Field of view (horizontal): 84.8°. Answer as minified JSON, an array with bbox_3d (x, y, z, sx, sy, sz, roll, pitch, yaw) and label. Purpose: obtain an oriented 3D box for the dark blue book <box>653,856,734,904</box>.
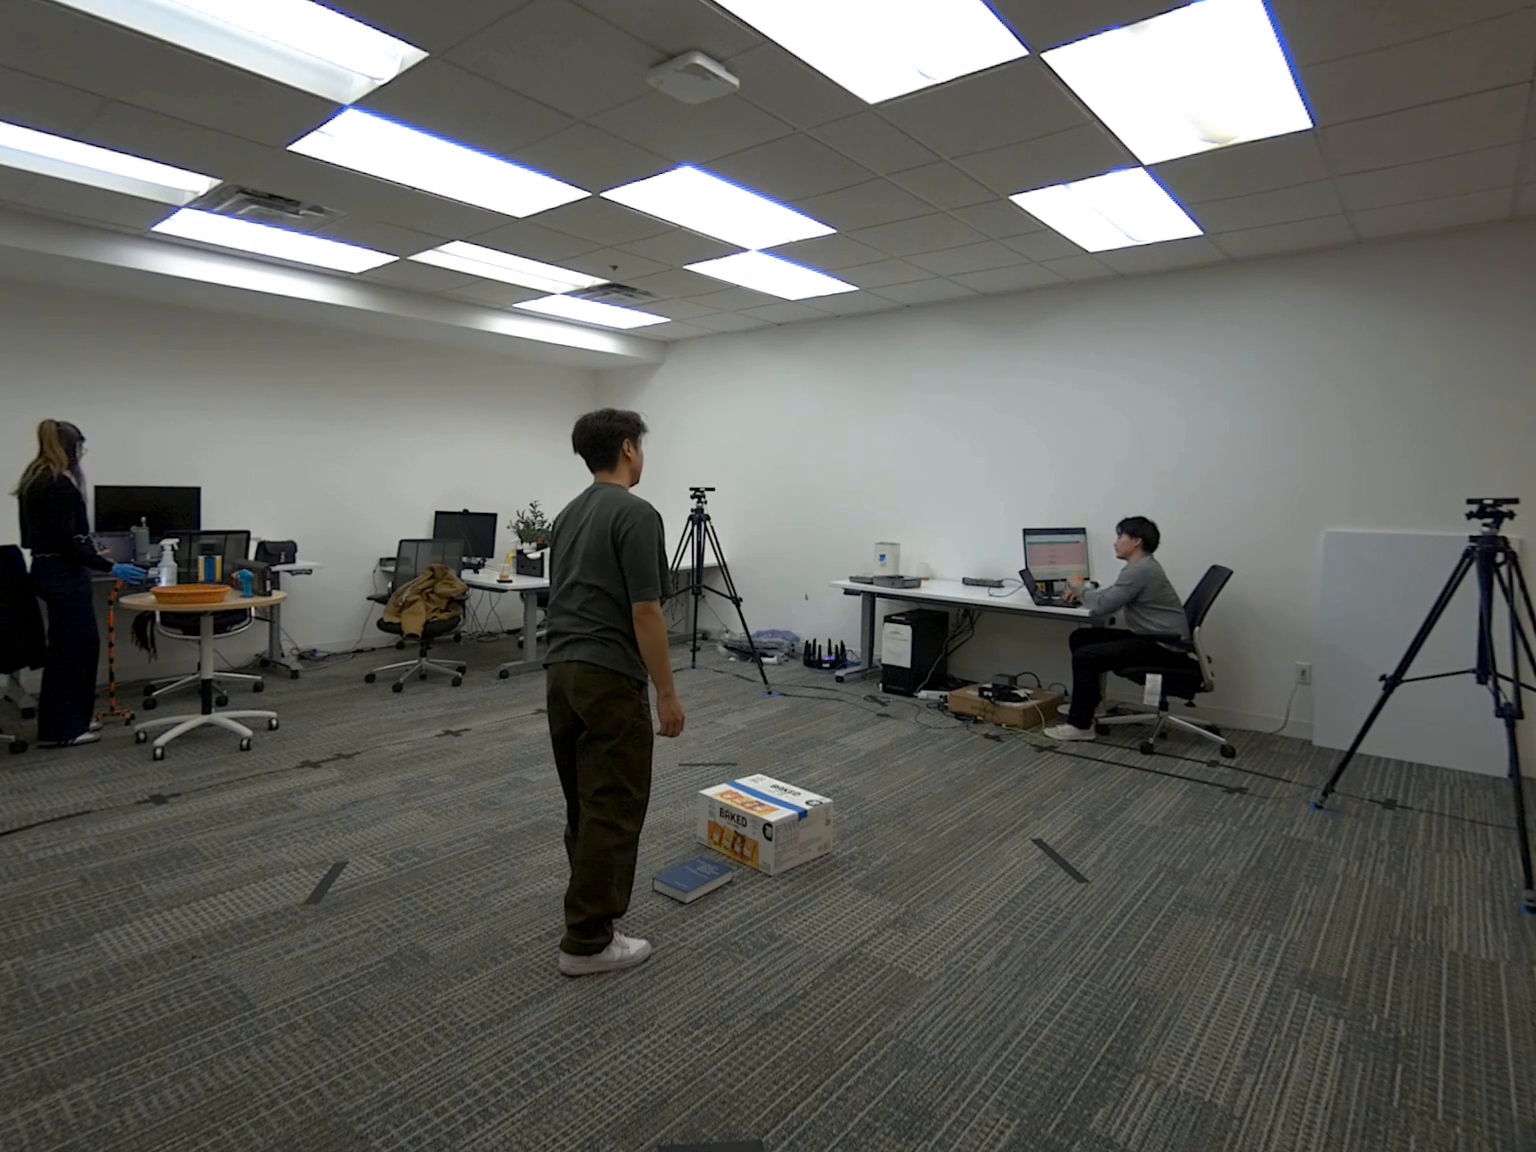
[{"bbox_3d":[-0.274,1.055,2.970,0.169,0.045,0.238,5,6,38],"label":"dark blue book"}]
